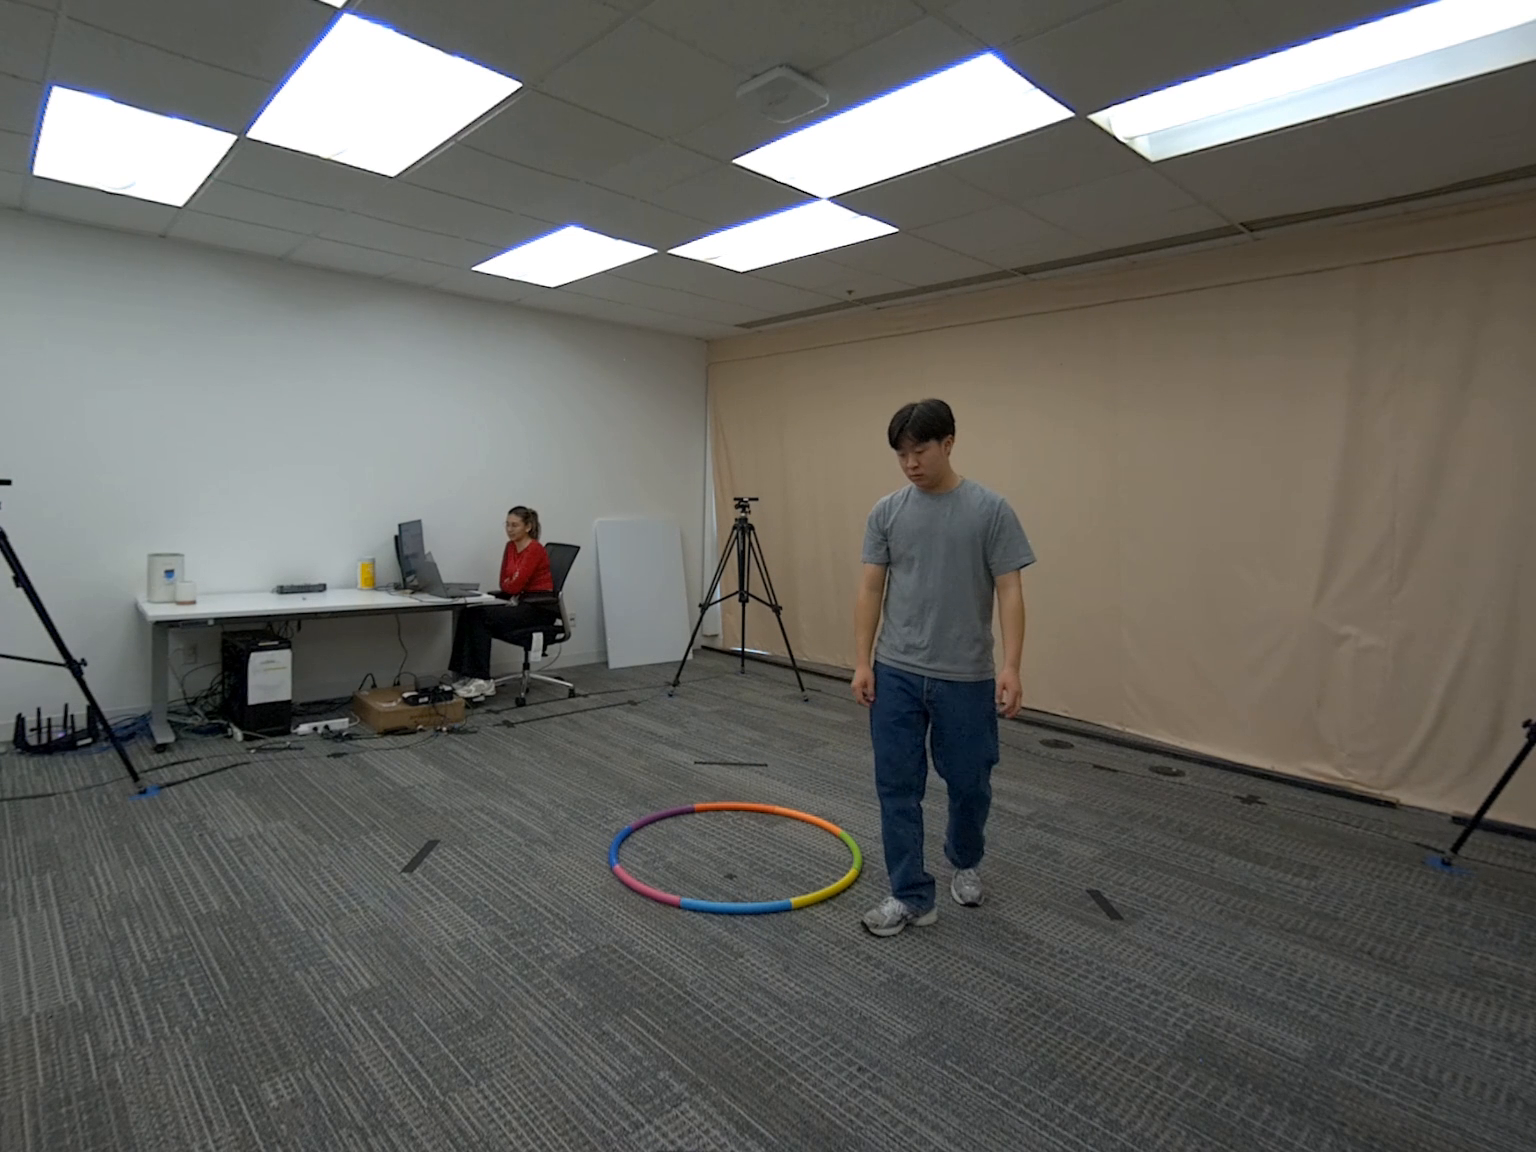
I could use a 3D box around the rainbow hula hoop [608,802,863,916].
[{"bbox_3d":[-0.140,1.056,3.302,0.978,0.035,0.982,1,5,-1],"label":"rainbow hula hoop"}]
